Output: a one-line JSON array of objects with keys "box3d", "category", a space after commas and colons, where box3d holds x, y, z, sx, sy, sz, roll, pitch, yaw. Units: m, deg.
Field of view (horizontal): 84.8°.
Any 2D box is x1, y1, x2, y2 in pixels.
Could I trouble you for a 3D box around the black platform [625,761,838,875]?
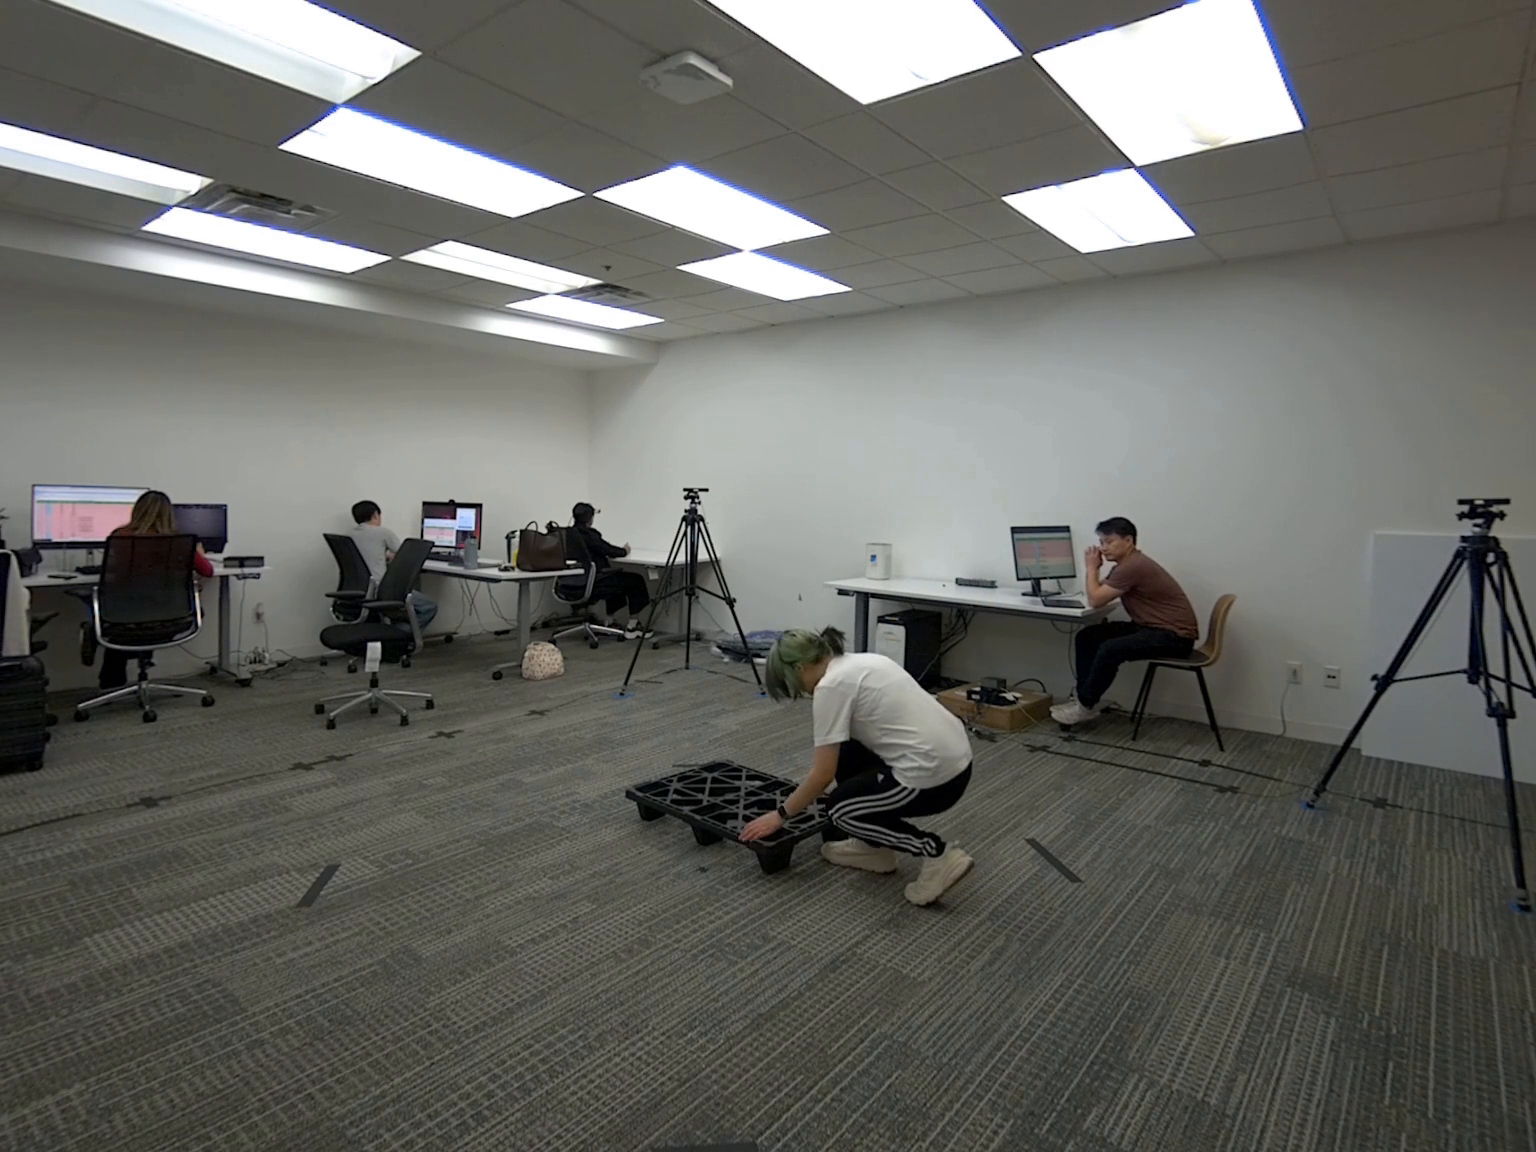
[{"box3d": [-0.121, 0.968, 3.496, 0.833, 0.143, 0.587, 7, 7, 42], "category": "black platform"}]
